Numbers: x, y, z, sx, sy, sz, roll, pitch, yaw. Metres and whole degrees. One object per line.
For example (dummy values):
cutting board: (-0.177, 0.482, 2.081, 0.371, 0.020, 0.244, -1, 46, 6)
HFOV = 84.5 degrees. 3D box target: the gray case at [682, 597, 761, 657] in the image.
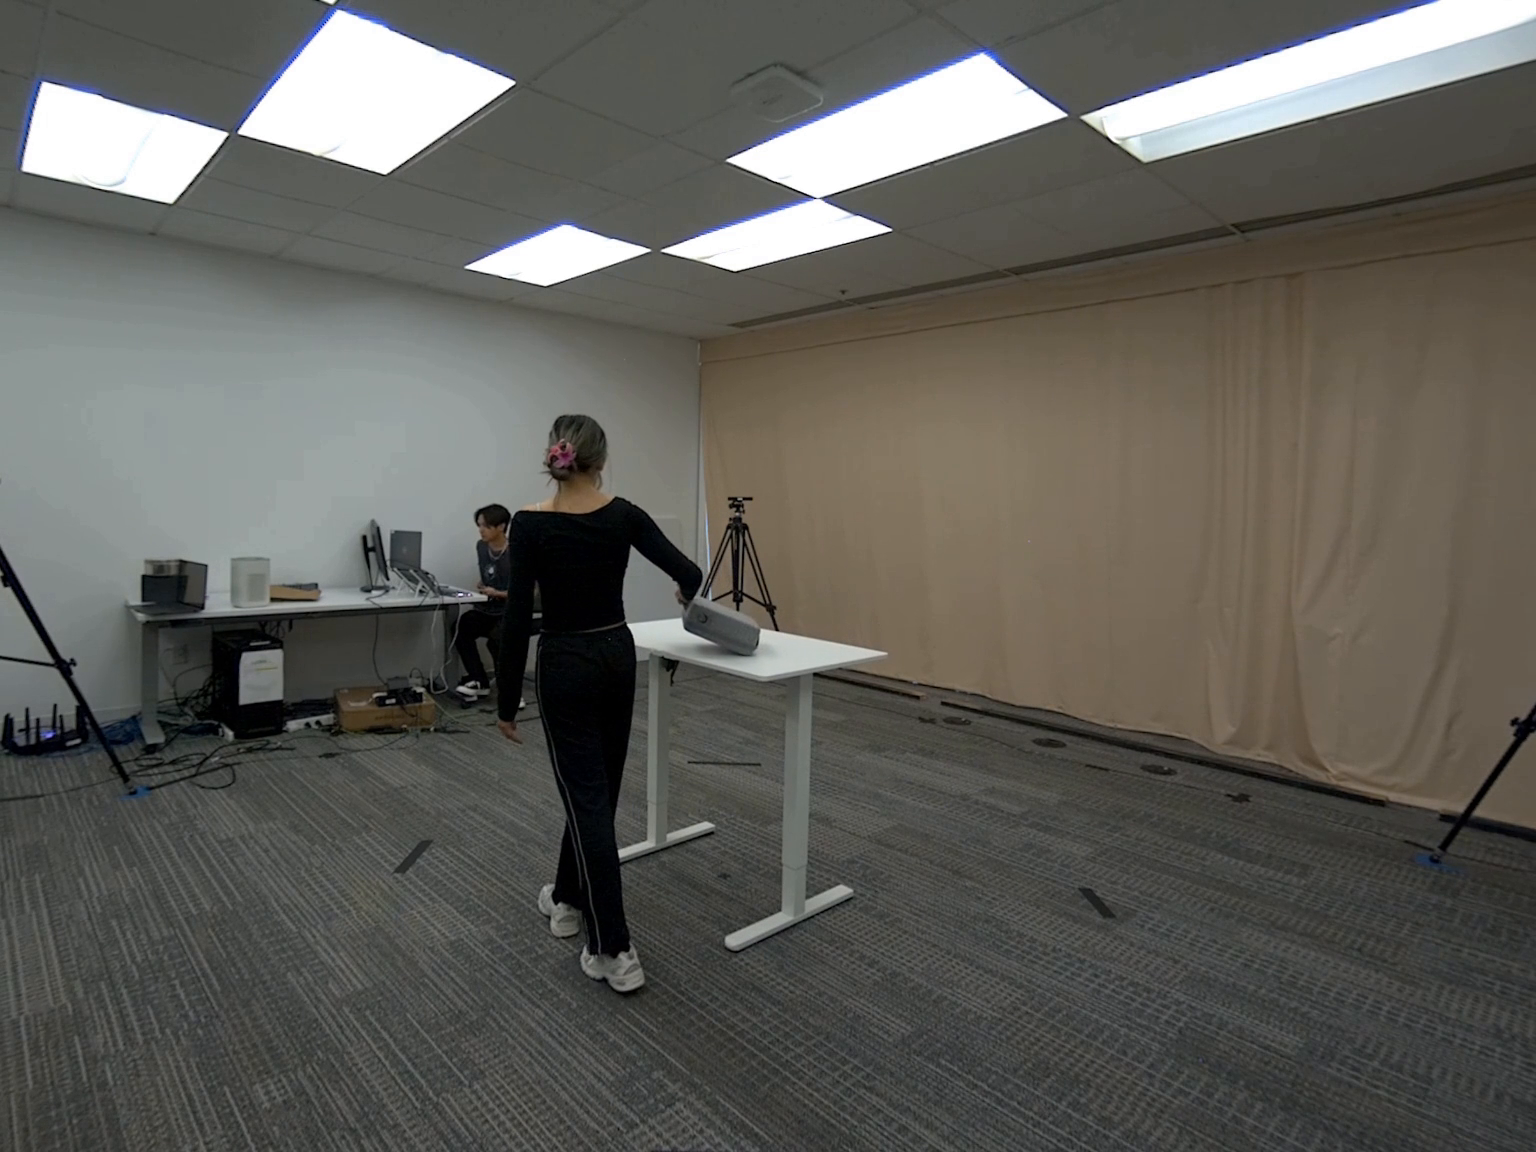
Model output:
gray case: (-0.168, 0.162, 2.828, 0.259, 0.104, 0.259, 23, 4, -6)
